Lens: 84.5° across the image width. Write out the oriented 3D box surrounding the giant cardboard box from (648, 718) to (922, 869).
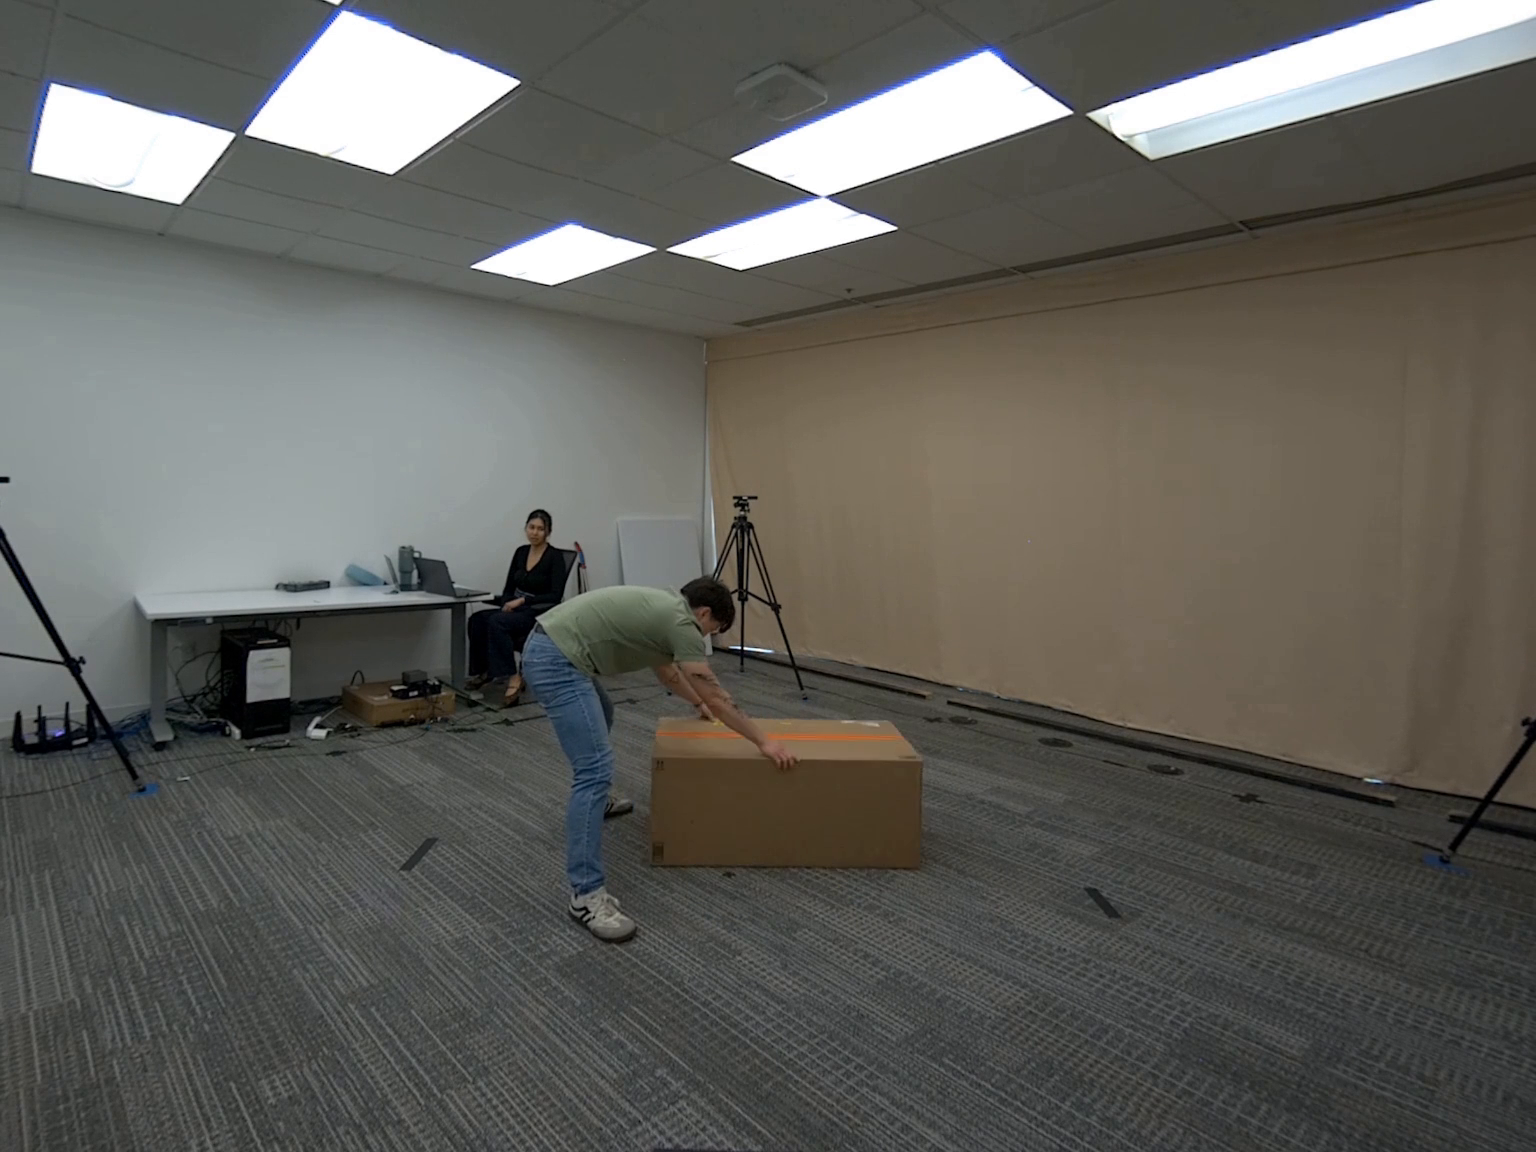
[{"bbox_3d":[0.032,0.863,3.434,1.024,0.425,0.580,1,4,-3],"label":"giant cardboard box"}]
